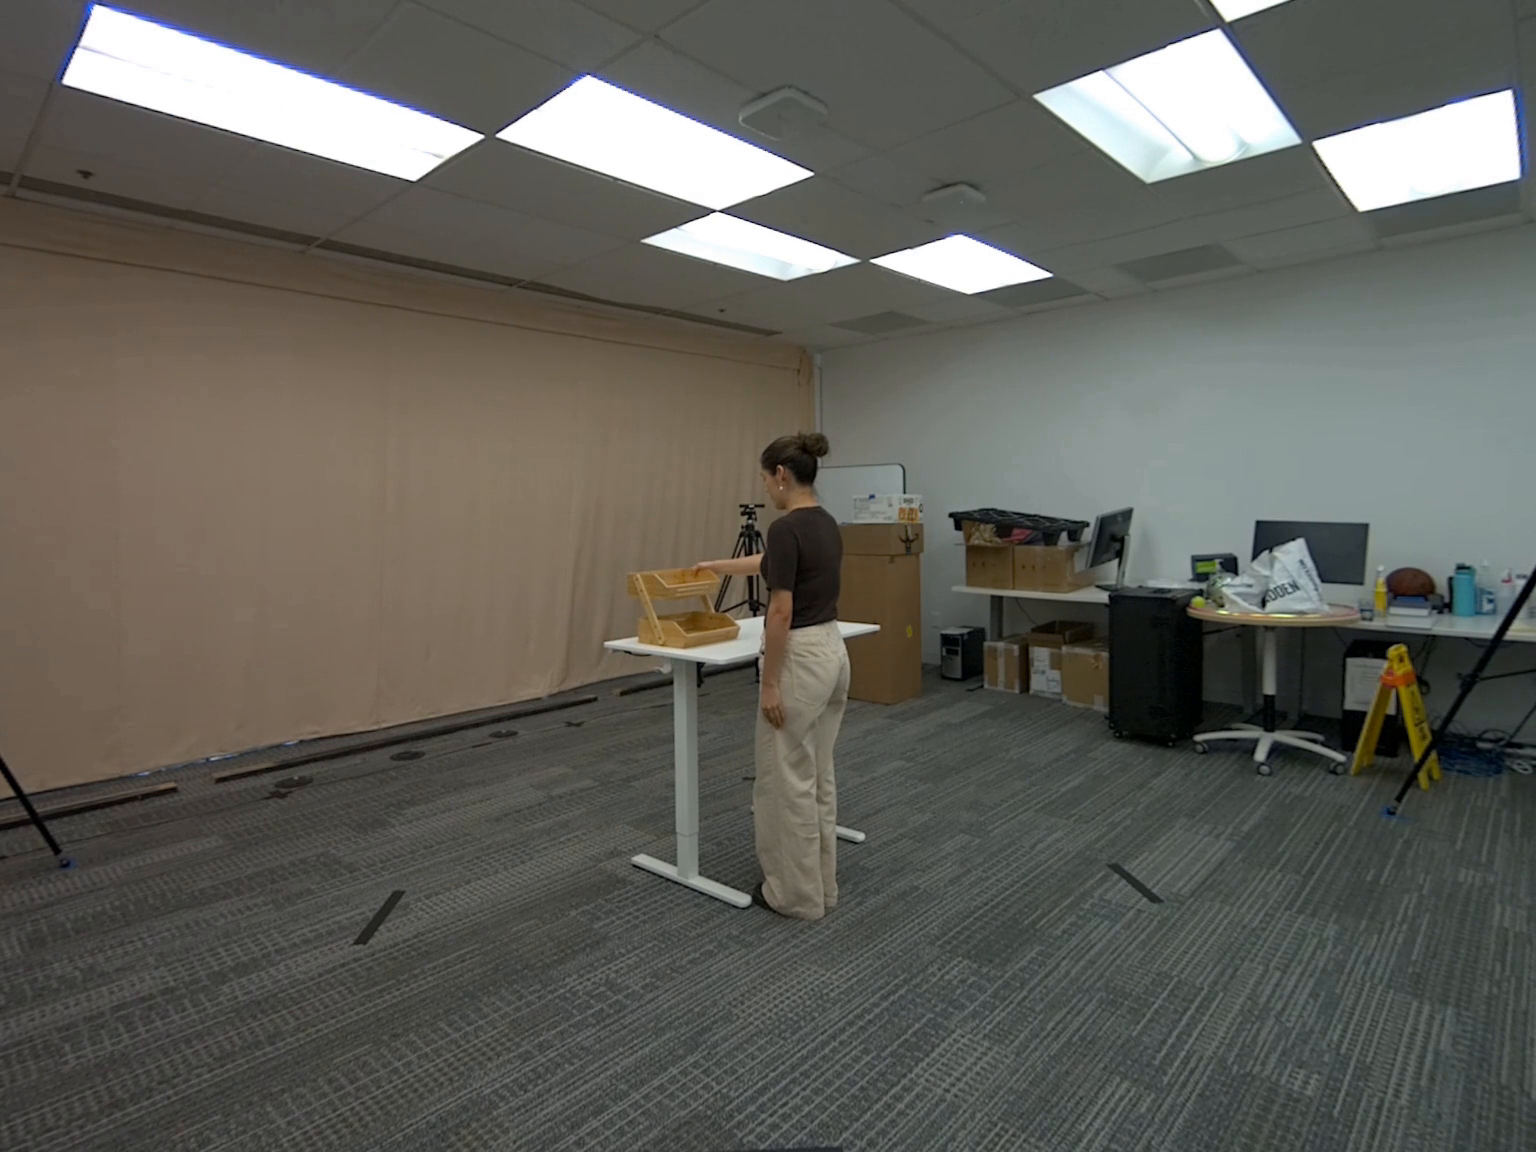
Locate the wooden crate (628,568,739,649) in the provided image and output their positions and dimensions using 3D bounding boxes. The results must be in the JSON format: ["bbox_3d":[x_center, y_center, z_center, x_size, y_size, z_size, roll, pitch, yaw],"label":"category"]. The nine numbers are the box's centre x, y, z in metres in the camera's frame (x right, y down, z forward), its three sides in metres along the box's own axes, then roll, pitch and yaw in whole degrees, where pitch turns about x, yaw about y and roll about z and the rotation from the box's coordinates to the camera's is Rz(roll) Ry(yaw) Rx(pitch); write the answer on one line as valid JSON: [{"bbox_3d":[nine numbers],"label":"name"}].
[{"bbox_3d":[-0.313,0.113,3.186,0.312,0.273,0.314,1,3,40],"label":"wooden crate"}]
